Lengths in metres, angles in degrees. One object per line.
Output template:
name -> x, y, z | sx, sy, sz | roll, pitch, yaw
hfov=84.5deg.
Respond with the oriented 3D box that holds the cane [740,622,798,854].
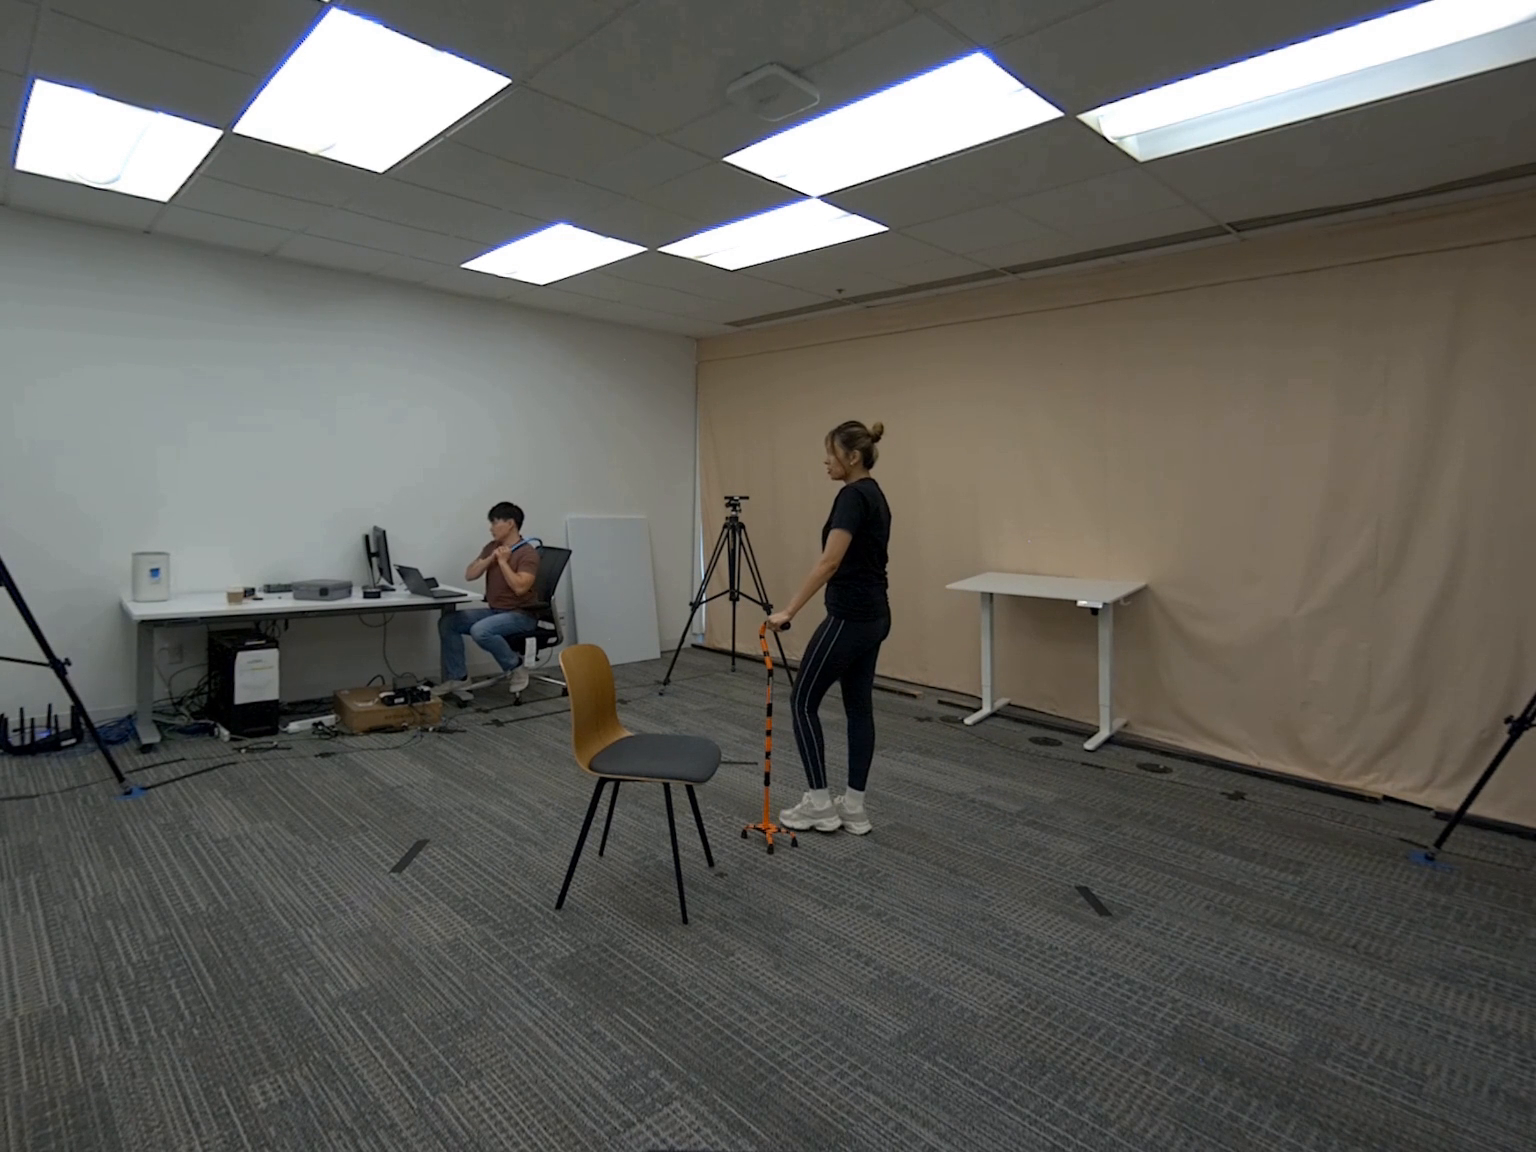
cane -> 0.007, 0.626, 3.391 | 0.148, 0.905, 0.211 | -1, 4, -34
